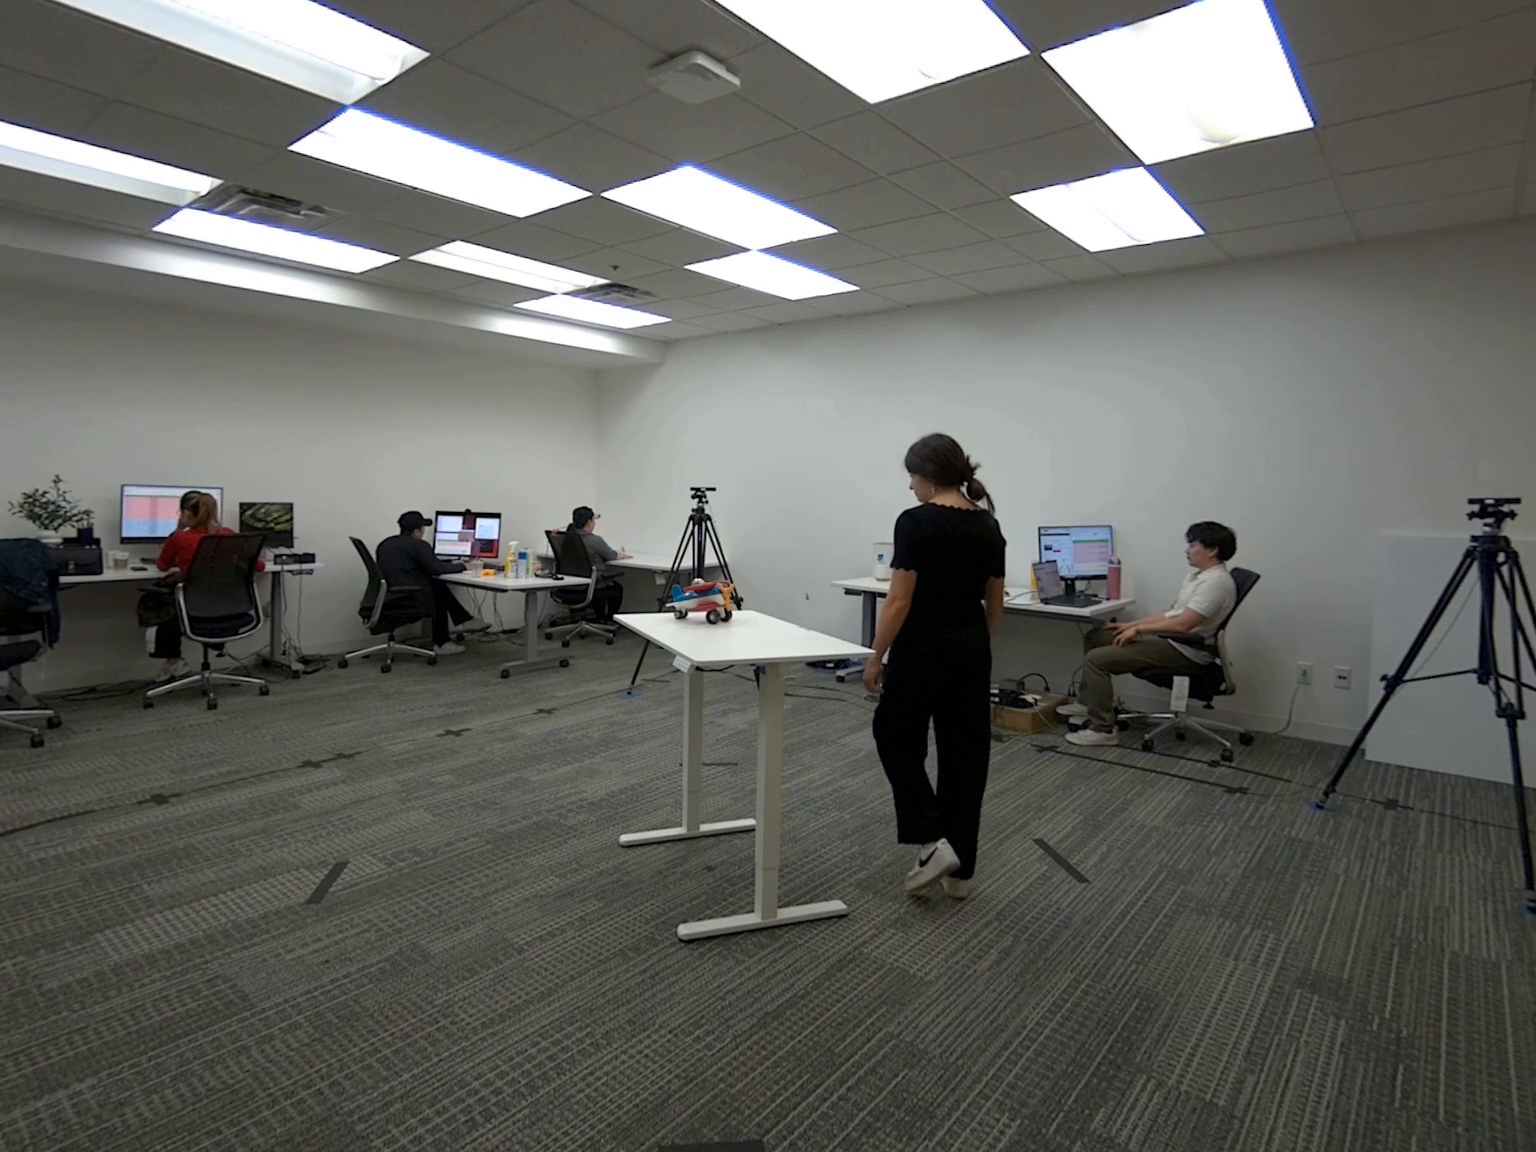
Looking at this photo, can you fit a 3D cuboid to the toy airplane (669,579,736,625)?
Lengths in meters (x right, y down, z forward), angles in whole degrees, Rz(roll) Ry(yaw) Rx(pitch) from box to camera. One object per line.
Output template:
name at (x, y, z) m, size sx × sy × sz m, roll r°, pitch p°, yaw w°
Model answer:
toy airplane at (-0.274, 0.094, 3.247) m, size 0.260 × 0.156 × 0.251 m, roll 2°, pitch 4°, yaw 2°
